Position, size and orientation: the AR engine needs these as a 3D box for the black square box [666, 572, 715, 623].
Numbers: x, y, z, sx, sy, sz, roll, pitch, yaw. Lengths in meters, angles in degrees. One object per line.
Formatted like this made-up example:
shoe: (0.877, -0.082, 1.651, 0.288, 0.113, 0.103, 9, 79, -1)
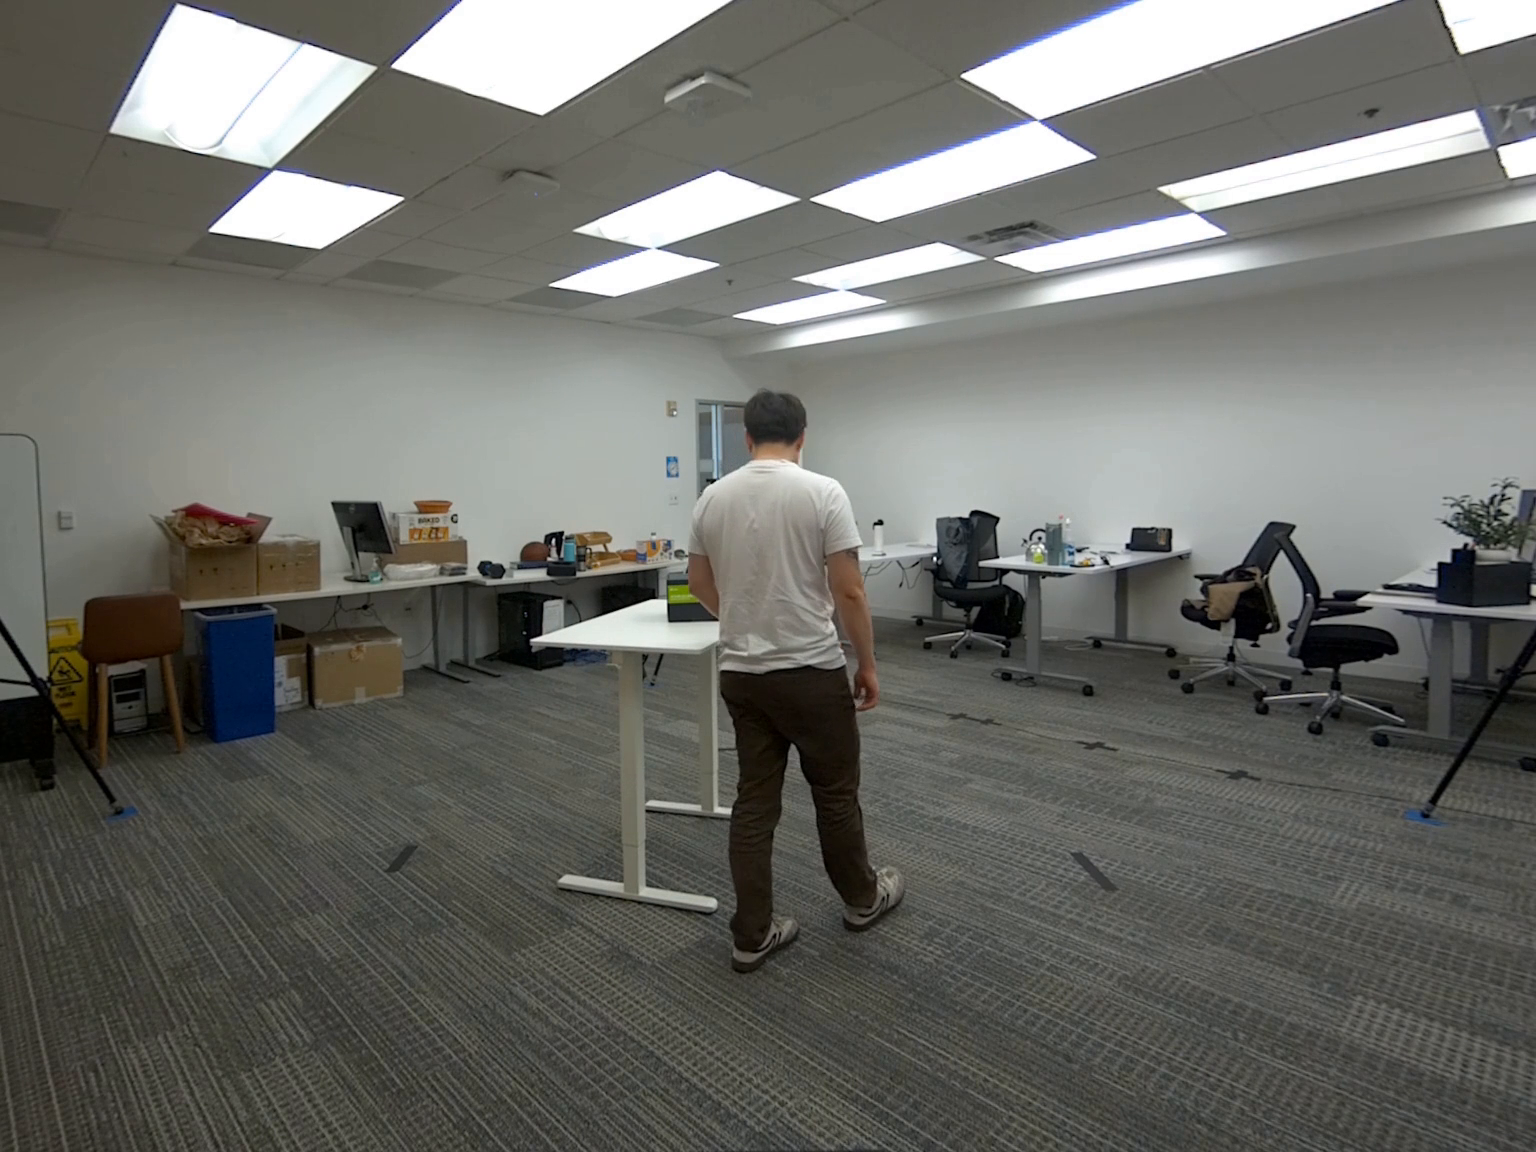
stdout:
black square box: (-0.262, 0.077, 3.208, 0.228, 0.155, 0.218, 0, 5, -2)
